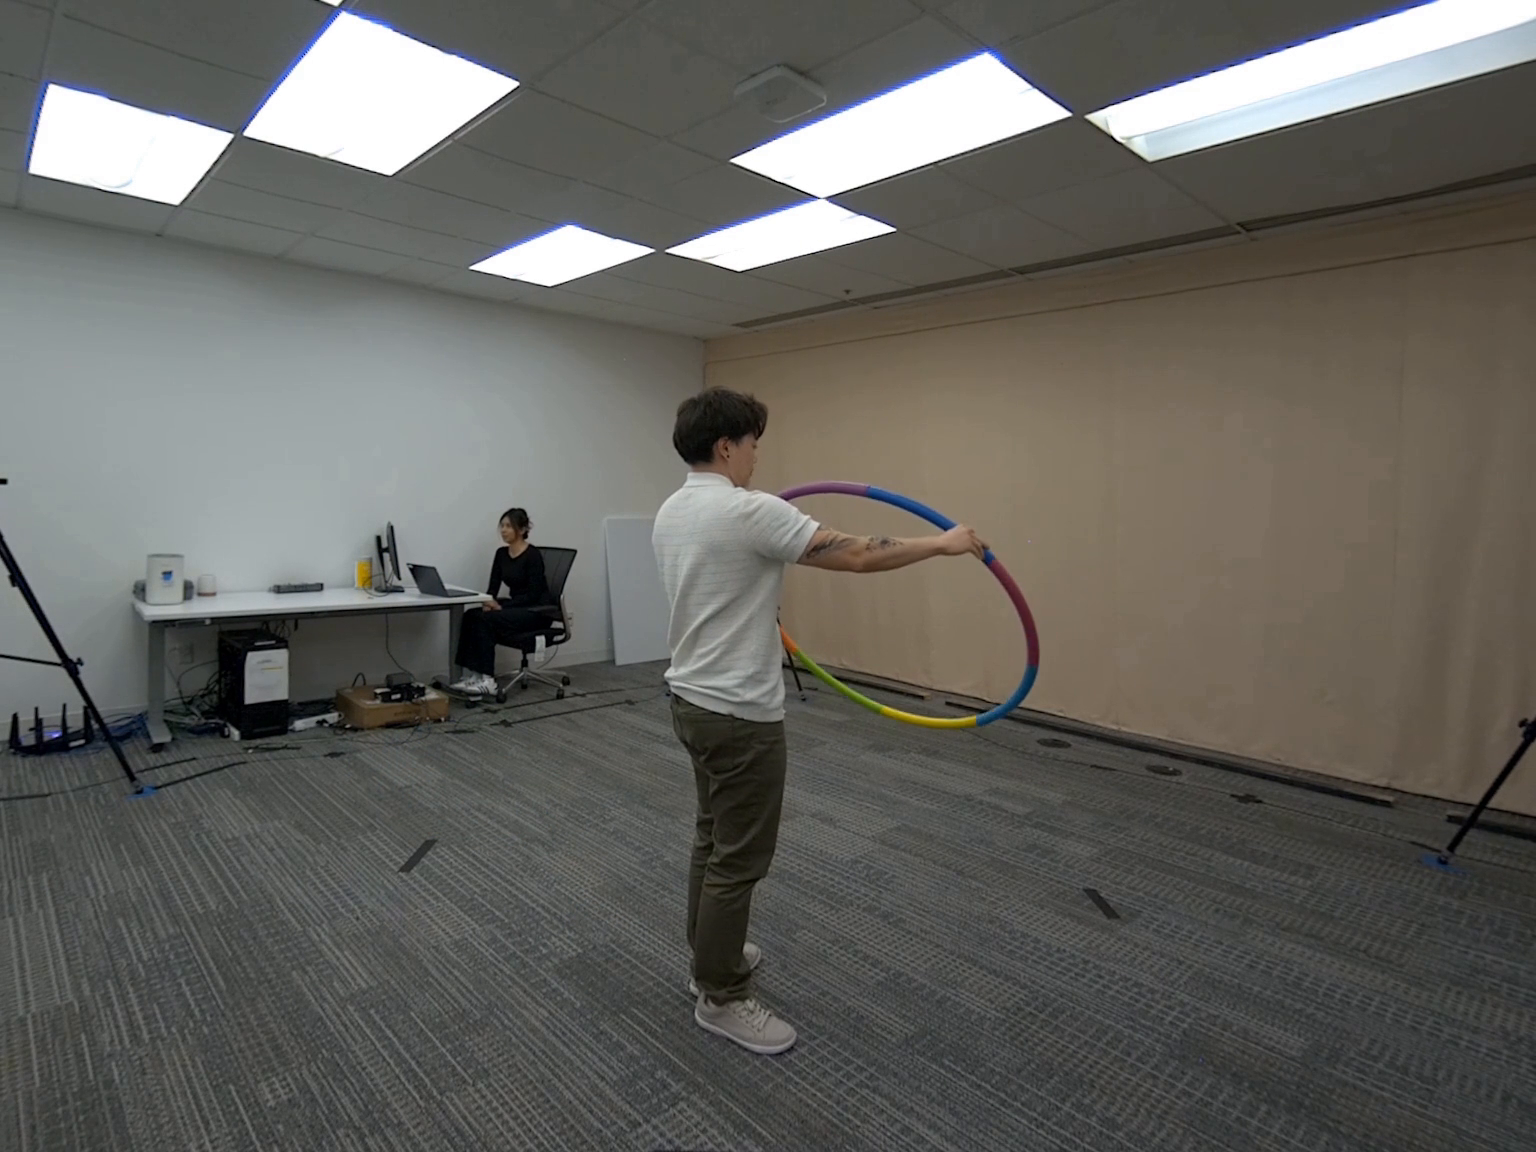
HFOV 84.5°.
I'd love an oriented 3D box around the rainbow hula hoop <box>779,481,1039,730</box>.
[{"bbox_3d":[0.332,0.112,2.604,1.003,0.953,0.035,5,42,40],"label":"rainbow hula hoop"}]
